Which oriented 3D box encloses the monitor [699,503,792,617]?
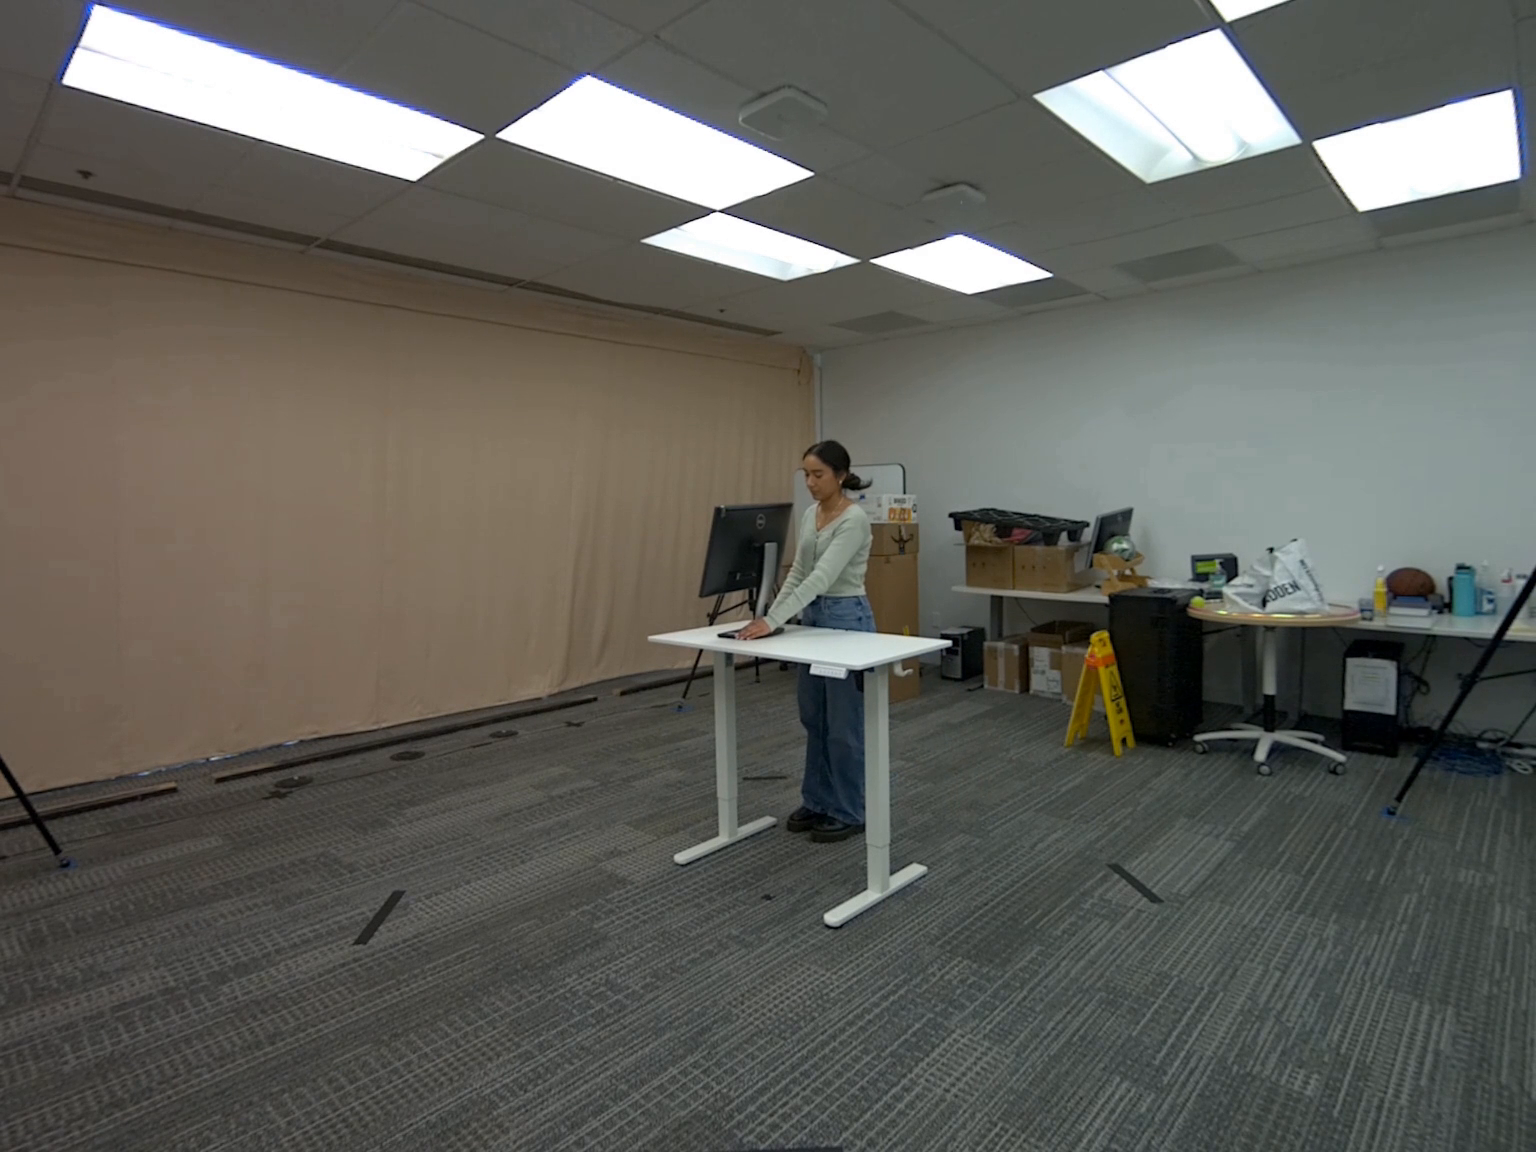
[{"bbox_3d":[-0.049,-0.026,3.305,0.180,0.515,0.516,-3,4,34],"label":"monitor"}]
